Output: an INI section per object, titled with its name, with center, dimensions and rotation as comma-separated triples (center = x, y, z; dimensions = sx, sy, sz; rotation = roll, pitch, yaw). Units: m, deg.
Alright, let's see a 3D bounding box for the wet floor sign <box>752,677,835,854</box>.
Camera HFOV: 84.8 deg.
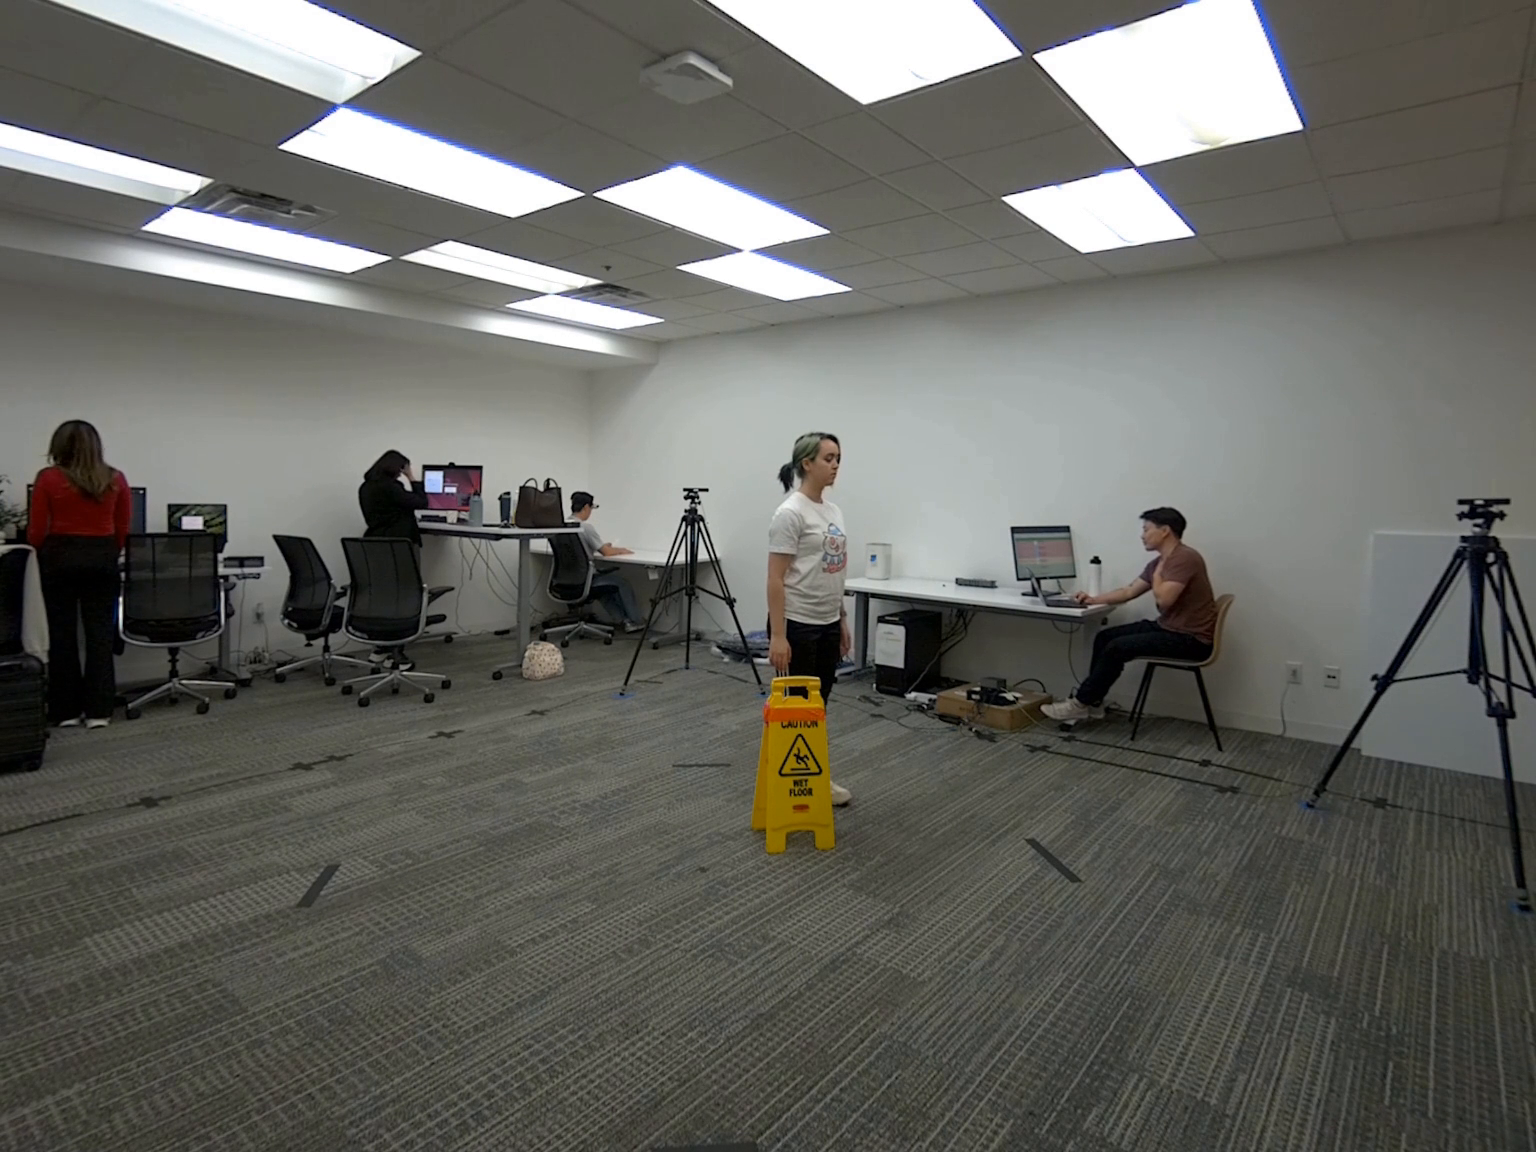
[wet floor sign]
center = 0.099, 0.726, 3.387
dimensions = 0.279, 0.645, 0.294
rotation = 1, 2, -12
